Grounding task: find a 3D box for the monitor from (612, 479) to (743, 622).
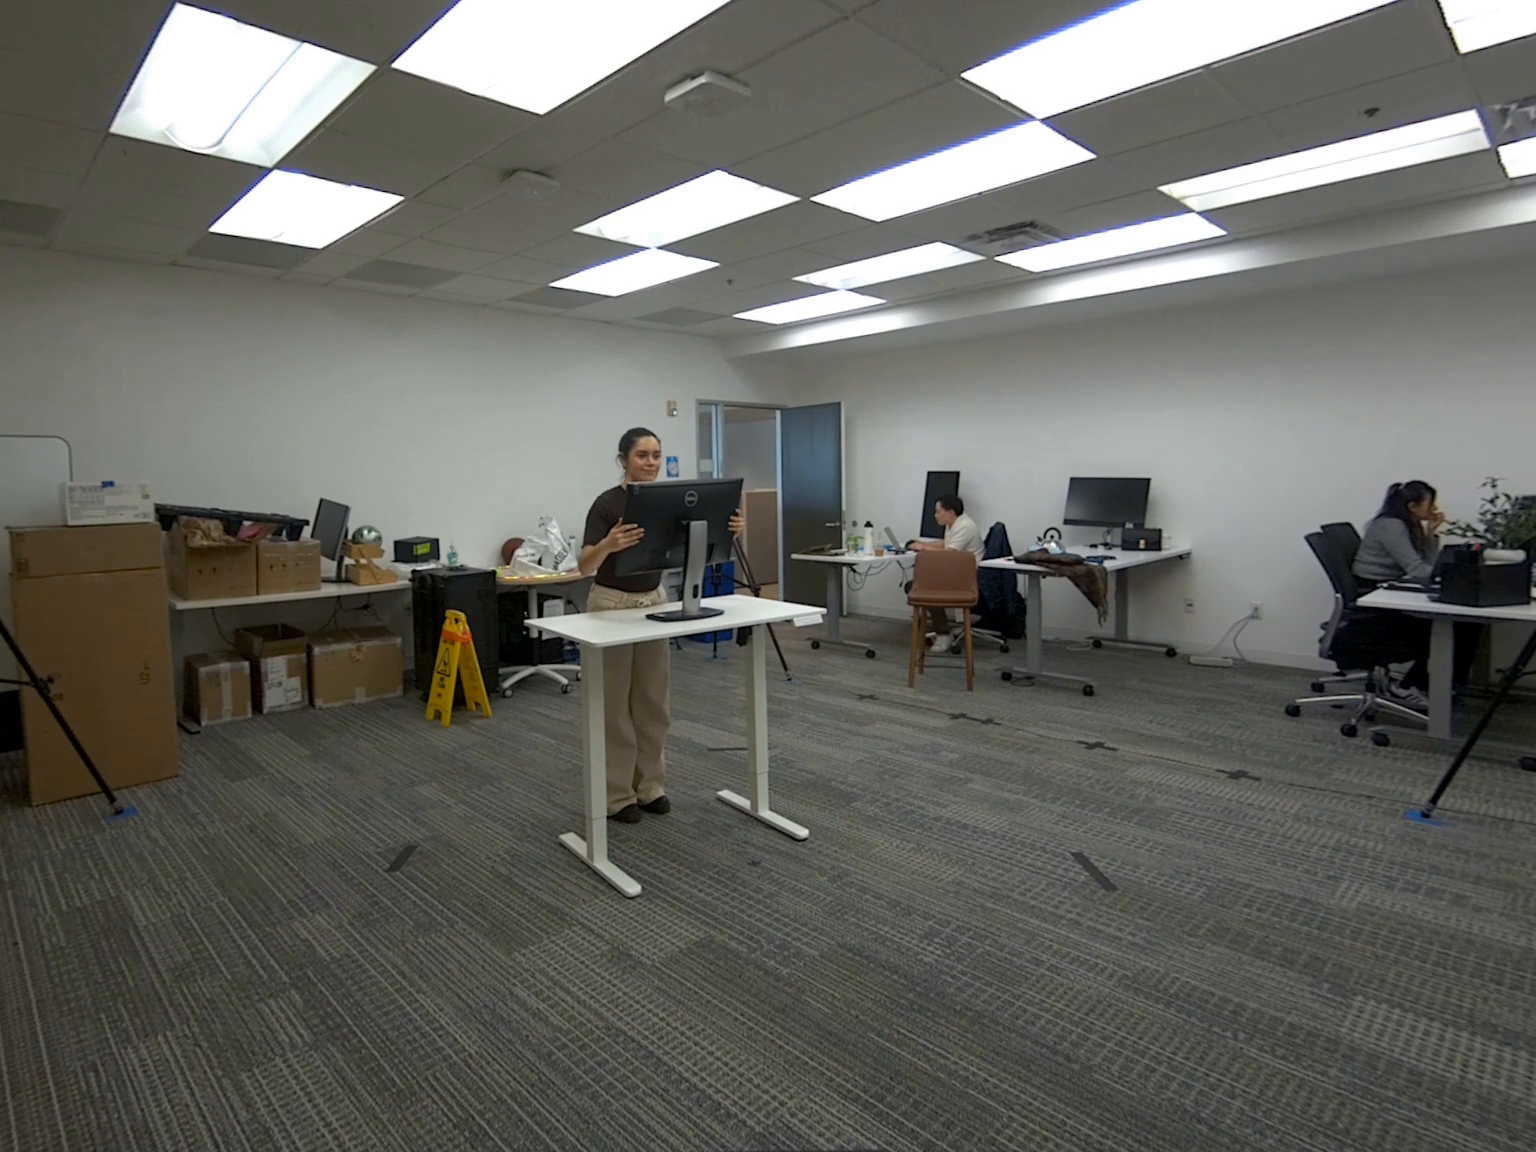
[{"bbox_3d":[-0.305,-0.099,3.206,0.525,0.519,0.193,-7,11,-42],"label":"monitor"}]
